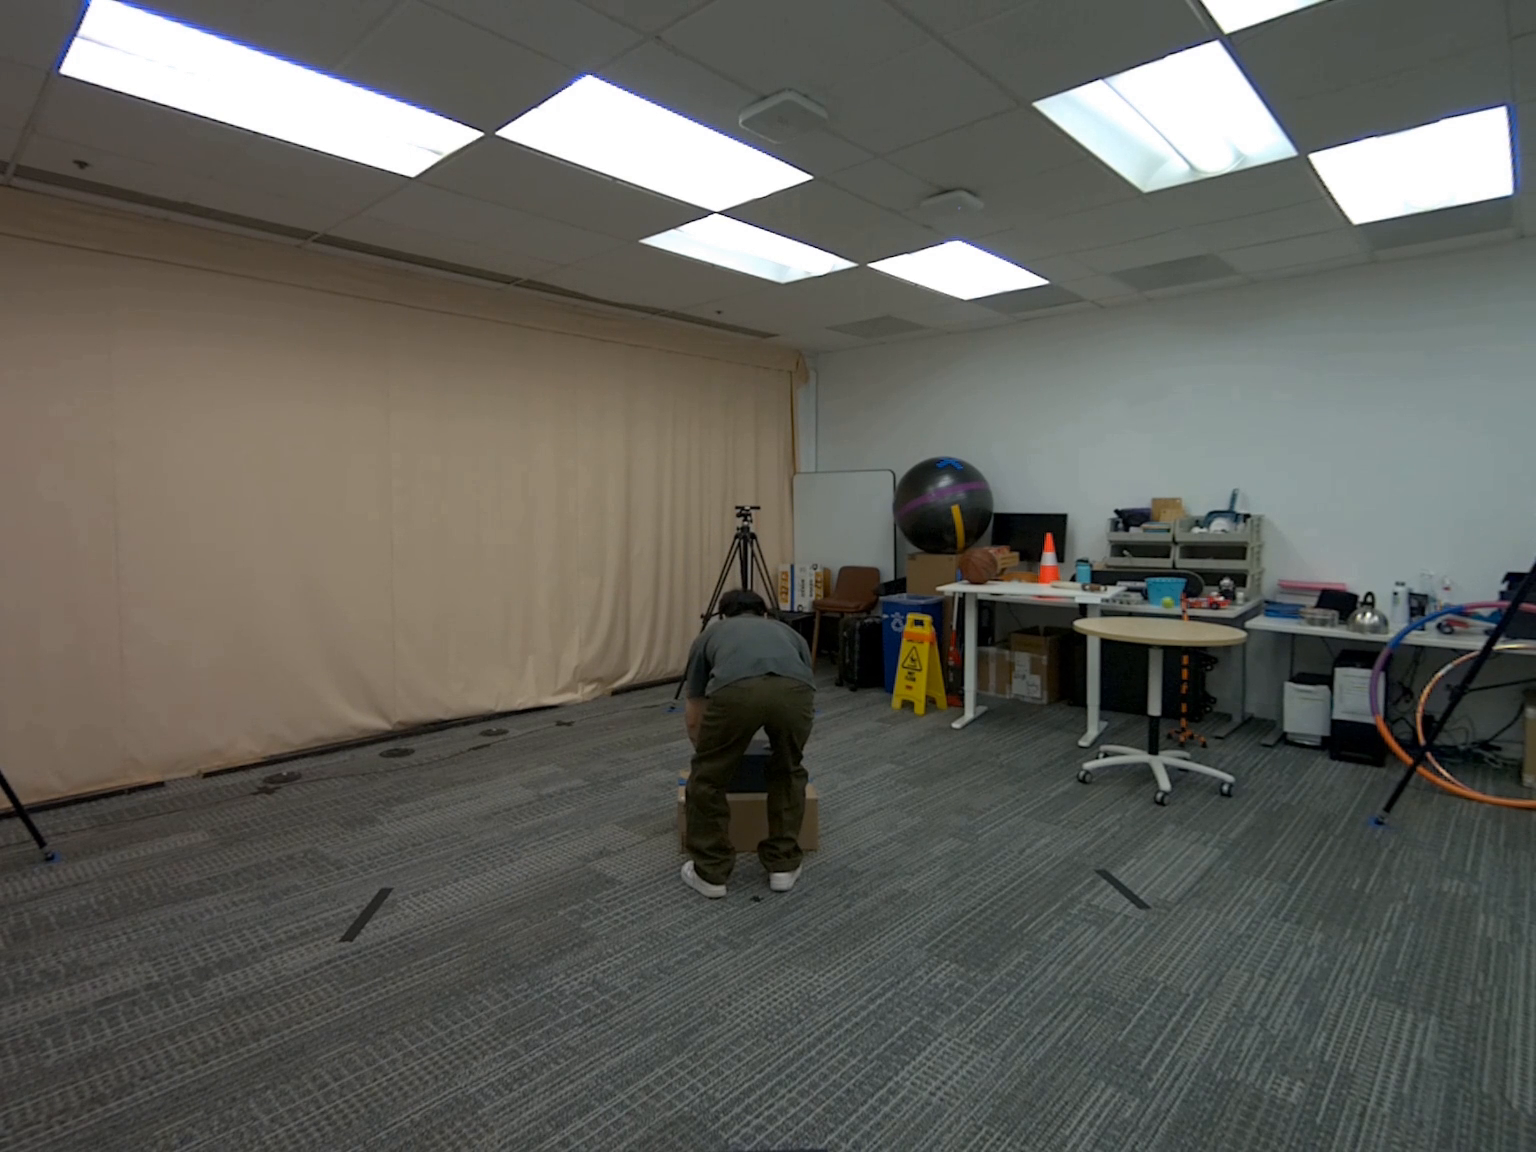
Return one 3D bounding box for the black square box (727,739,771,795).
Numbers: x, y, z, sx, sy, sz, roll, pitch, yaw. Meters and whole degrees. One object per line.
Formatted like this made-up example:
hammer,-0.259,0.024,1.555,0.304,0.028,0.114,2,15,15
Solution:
black square box,-0.093,0.796,3.557,0.227,0.155,0.218,-1,5,-4
